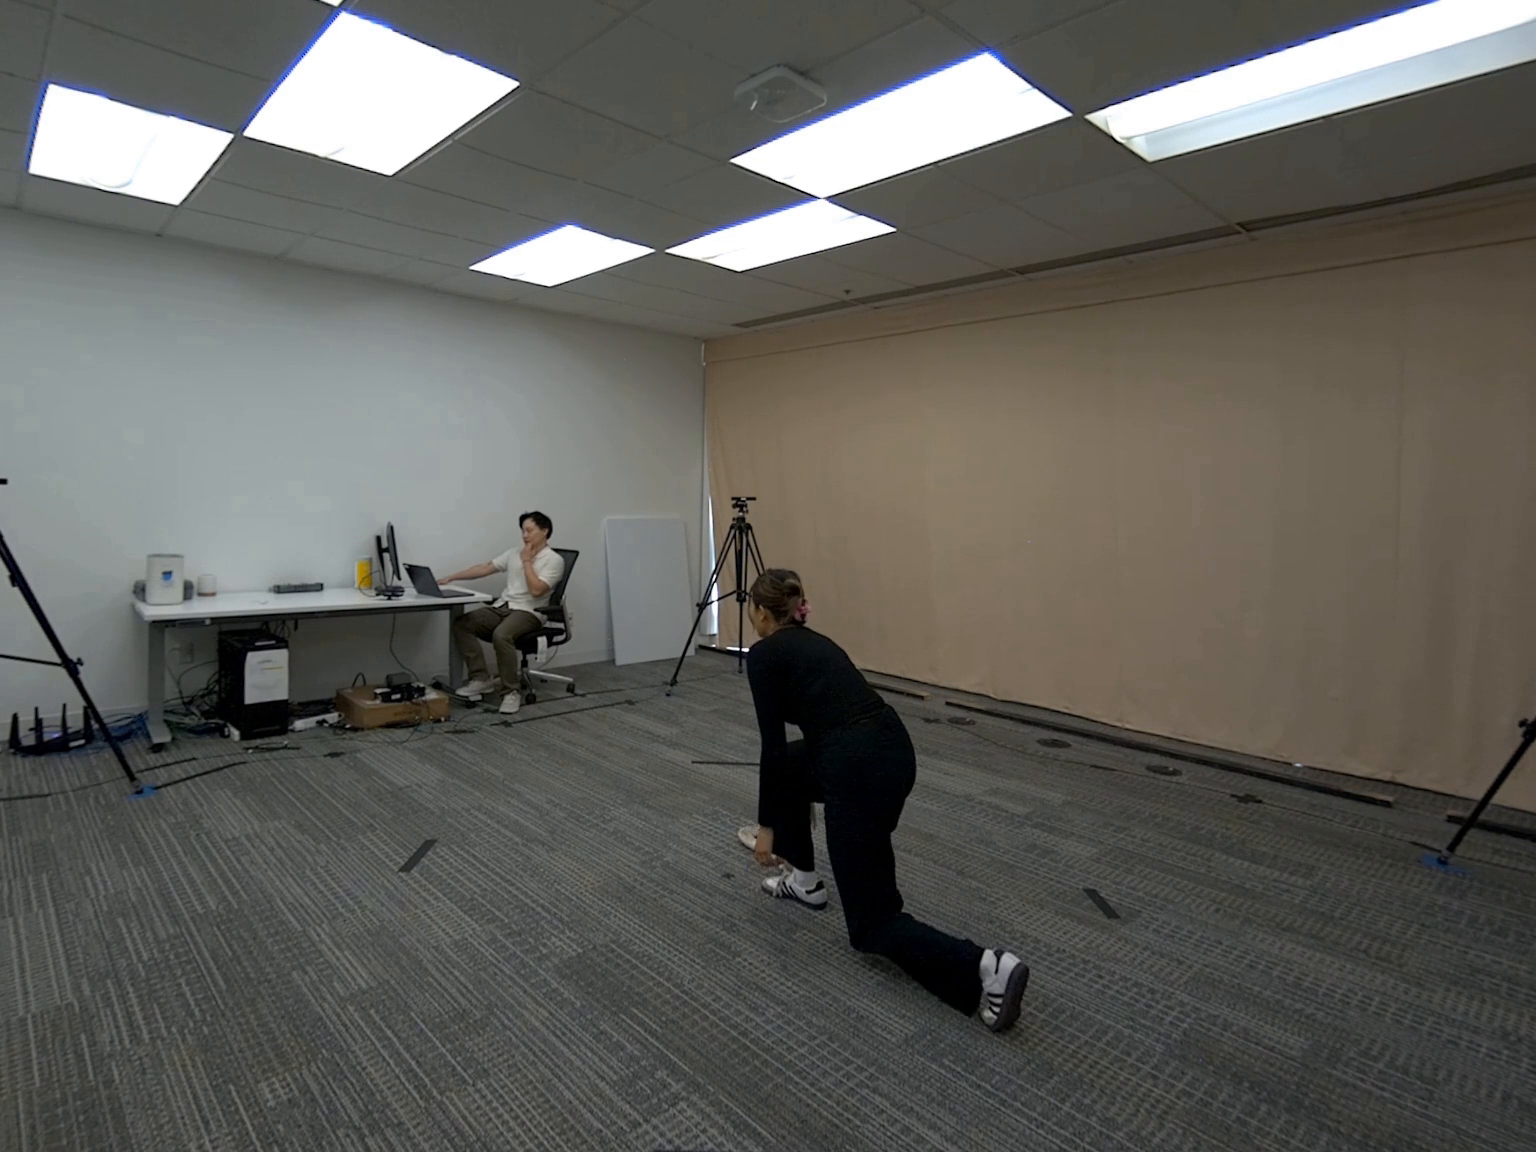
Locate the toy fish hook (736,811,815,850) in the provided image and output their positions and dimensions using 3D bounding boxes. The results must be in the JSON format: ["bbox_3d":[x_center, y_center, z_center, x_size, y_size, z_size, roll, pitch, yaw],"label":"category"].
[{"bbox_3d":[0.055,1.077,3.285,0.220,0.048,0.517,-2,6,-27],"label":"toy fish hook"}]
